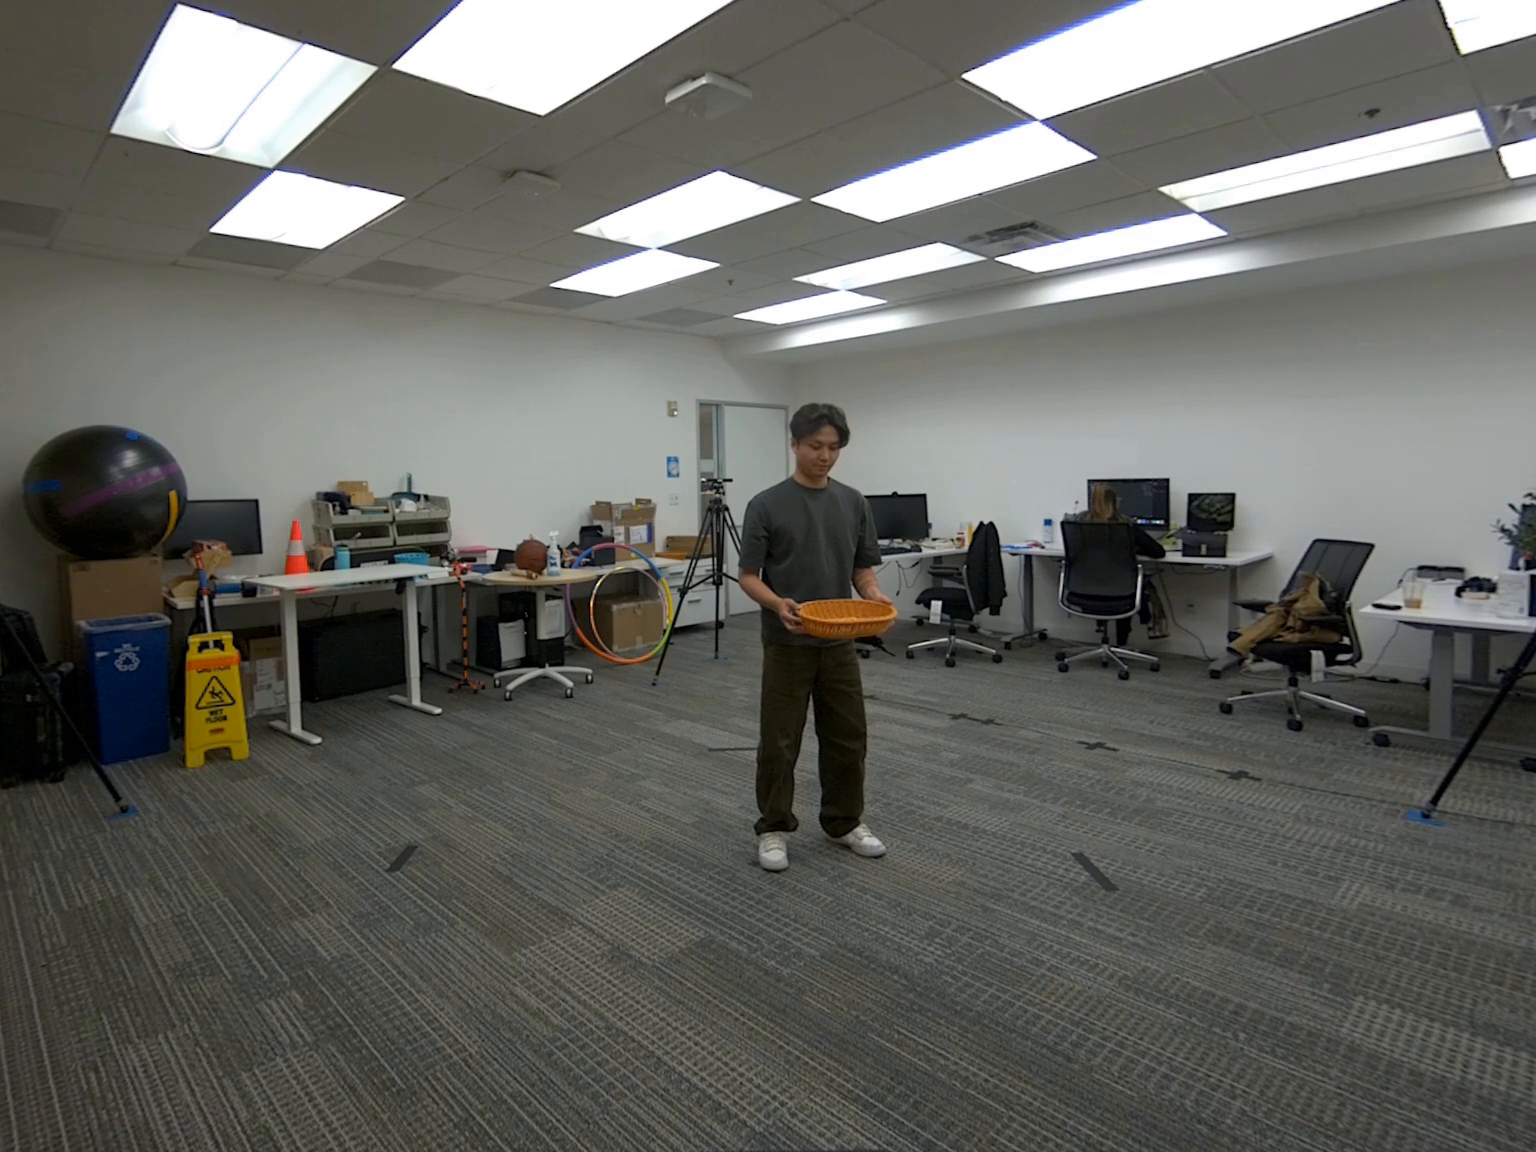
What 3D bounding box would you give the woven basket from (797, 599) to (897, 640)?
[{"bbox_3d":[0.248,0.152,2.864,0.346,0.072,0.258,-3,13,-14],"label":"woven basket"}]
